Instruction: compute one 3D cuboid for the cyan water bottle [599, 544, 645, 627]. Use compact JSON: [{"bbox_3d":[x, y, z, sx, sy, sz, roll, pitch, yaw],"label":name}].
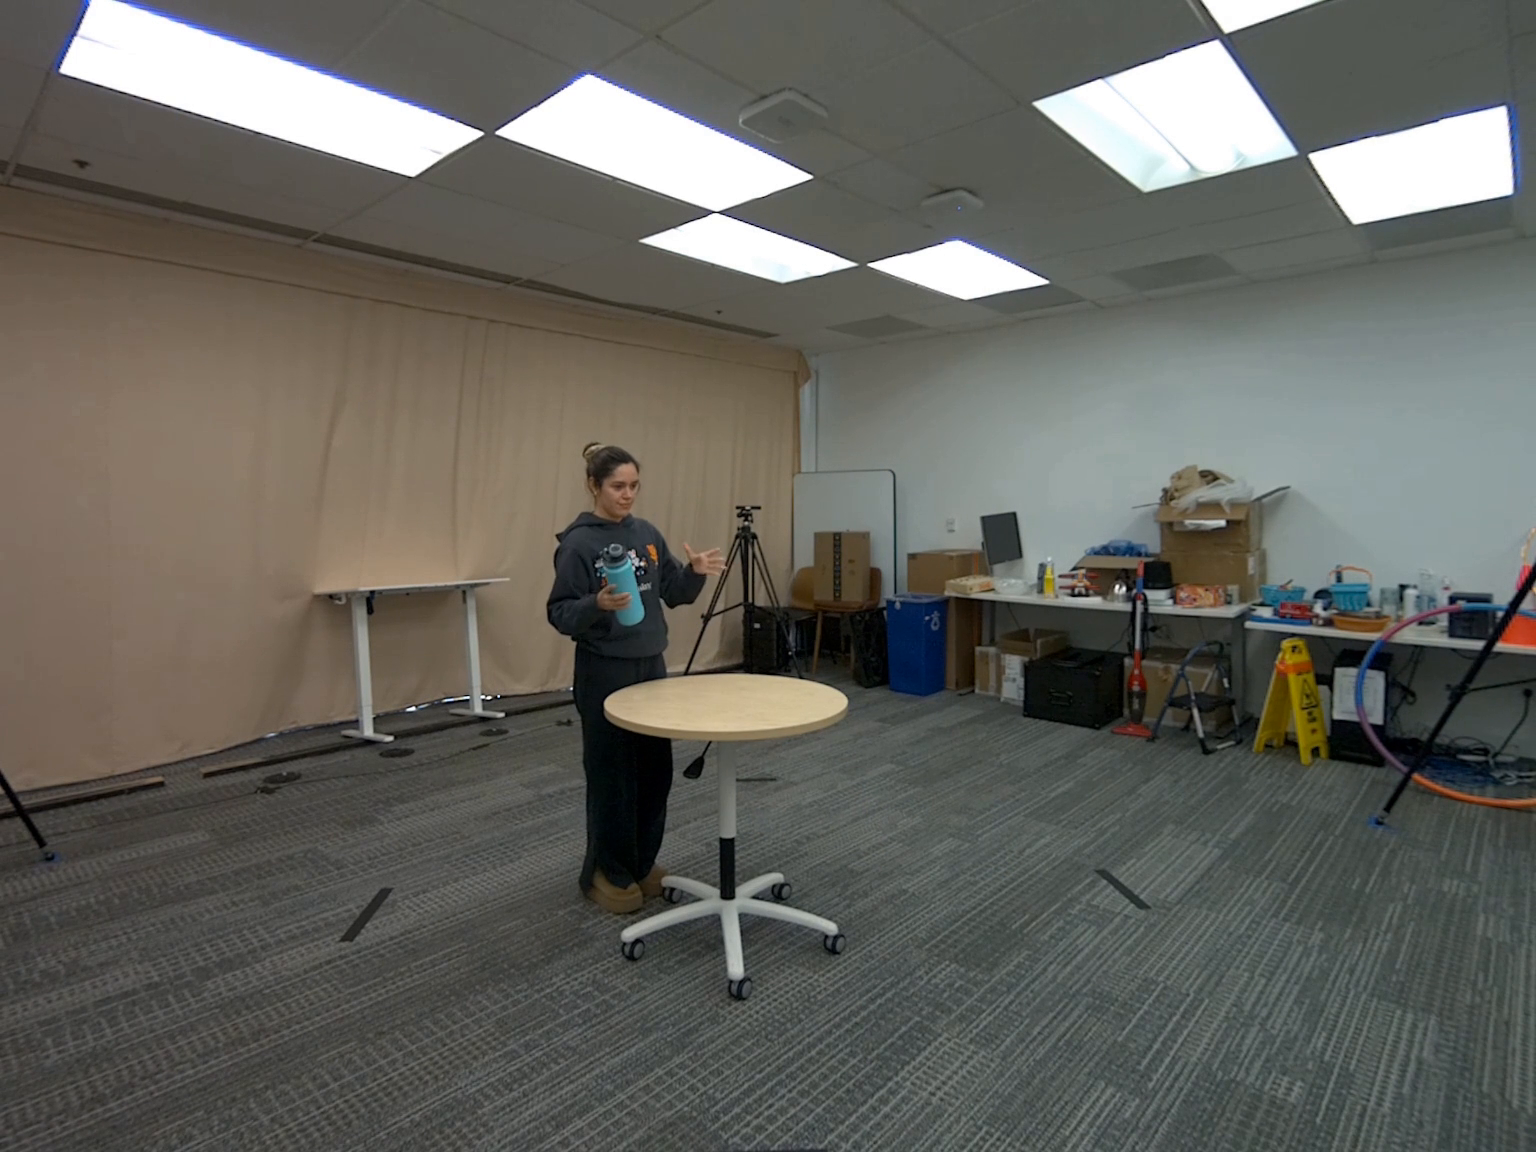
[{"bbox_3d":[-0.449,0.007,2.663,0.092,0.277,0.094,-5,36,2],"label":"cyan water bottle"}]
